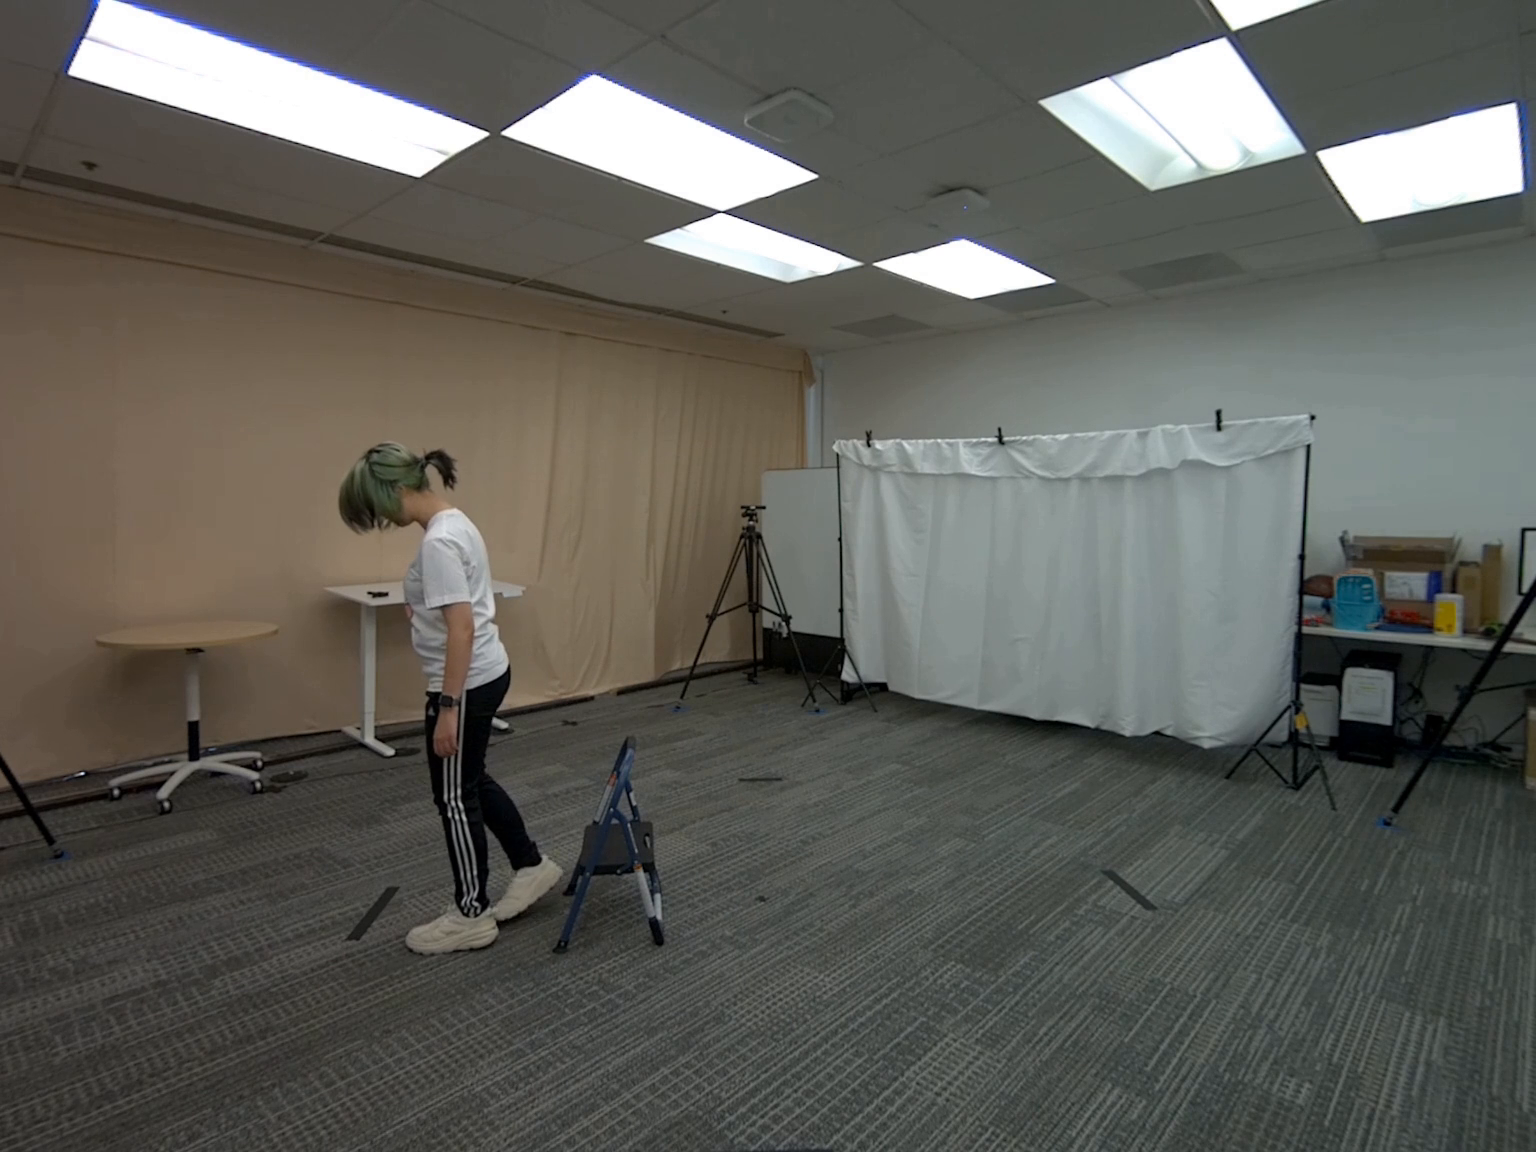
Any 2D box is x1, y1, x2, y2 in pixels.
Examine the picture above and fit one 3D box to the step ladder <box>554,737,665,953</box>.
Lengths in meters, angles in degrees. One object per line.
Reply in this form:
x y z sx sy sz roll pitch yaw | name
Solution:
-0.532 0.864 2.840 0.347 0.605 0.435 -1 3 -8 | step ladder
